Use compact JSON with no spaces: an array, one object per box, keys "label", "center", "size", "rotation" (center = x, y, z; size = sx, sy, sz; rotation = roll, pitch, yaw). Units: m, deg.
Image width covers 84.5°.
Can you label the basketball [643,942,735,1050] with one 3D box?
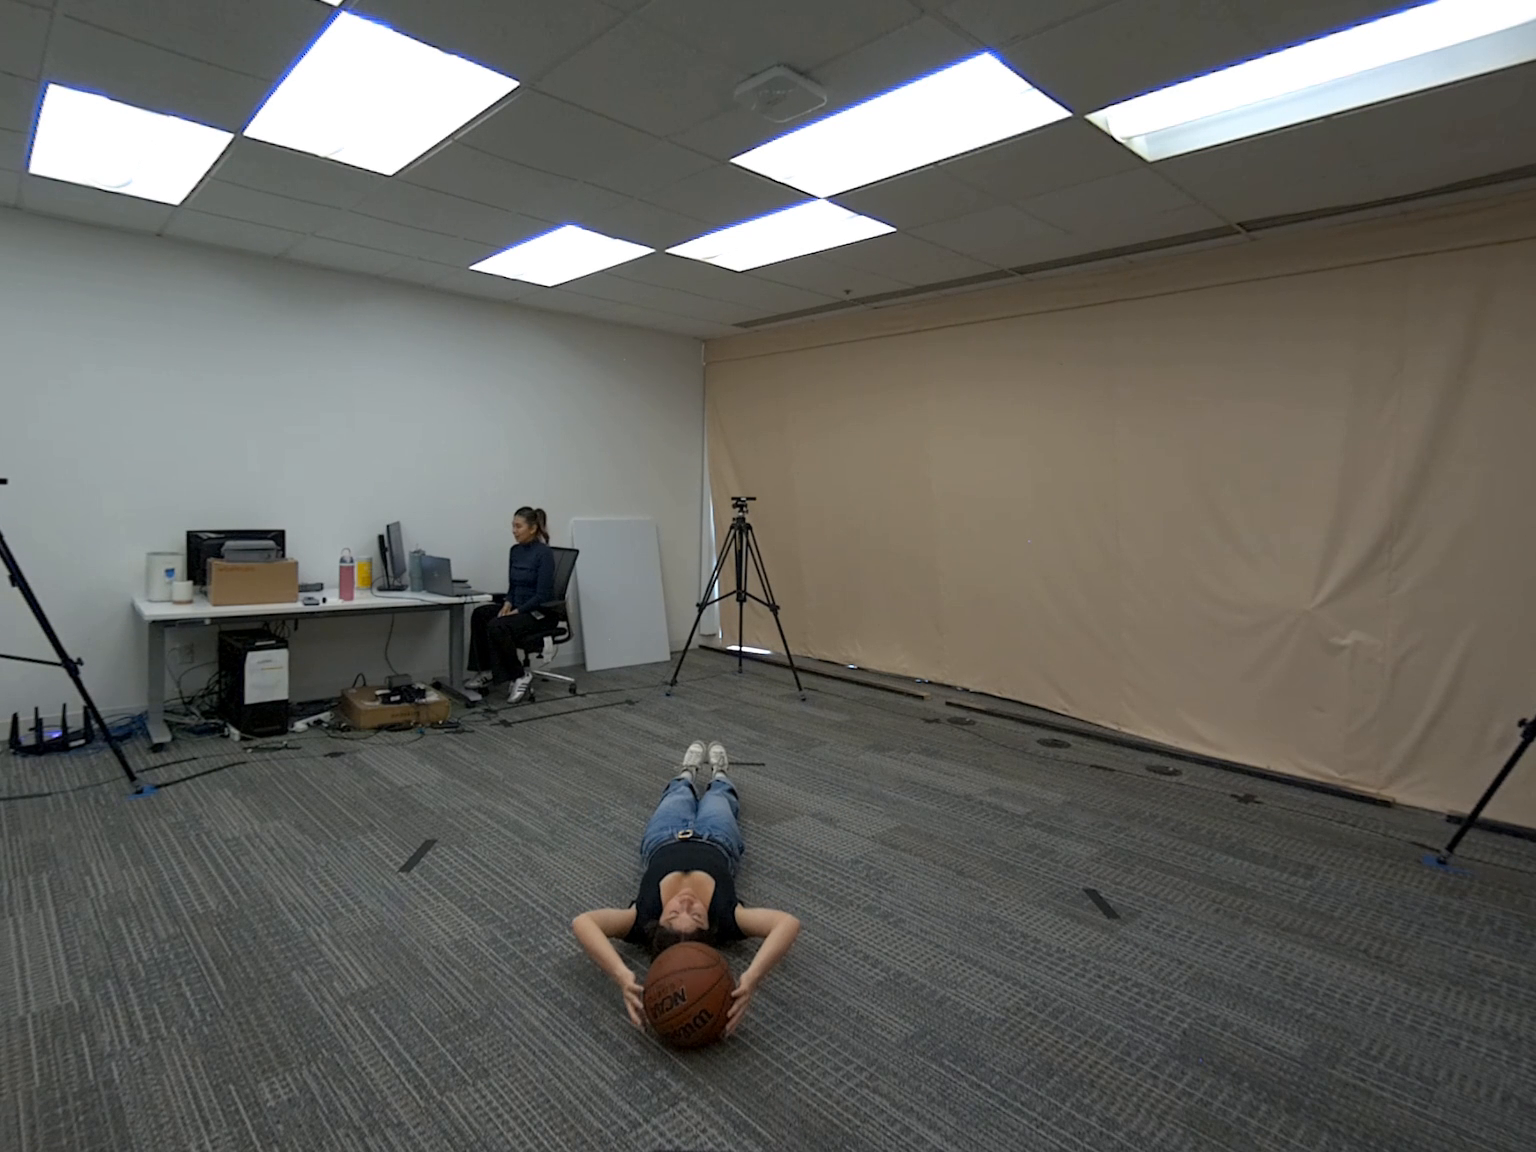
[{"label":"basketball","center":[-0.206,1.071,2.160],"size":[0.236,0.235,0.237],"rotation":[1,4,-1]}]
